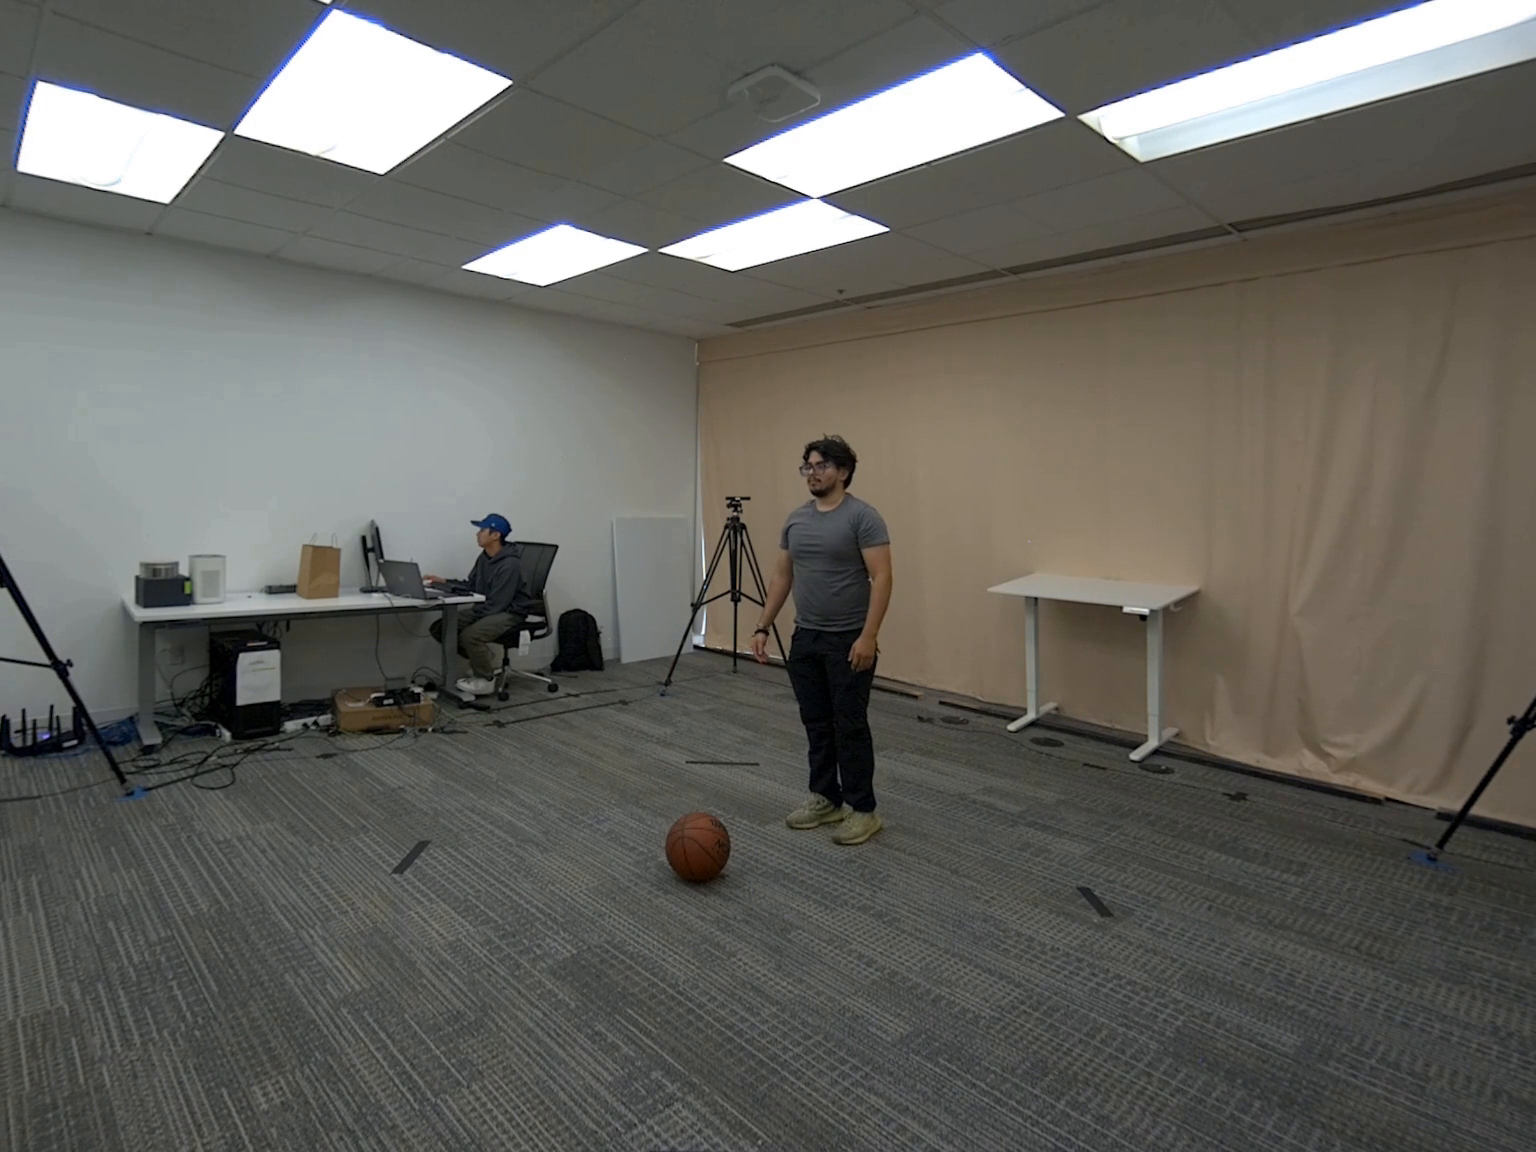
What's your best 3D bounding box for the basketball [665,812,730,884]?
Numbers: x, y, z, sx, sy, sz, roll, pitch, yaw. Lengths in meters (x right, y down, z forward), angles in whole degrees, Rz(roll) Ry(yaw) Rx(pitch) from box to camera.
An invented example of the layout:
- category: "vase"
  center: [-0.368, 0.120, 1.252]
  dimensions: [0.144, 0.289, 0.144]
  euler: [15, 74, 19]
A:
- category: "basketball"
  center: [-0.262, 0.987, 3.076]
  dimensions: [0.236, 0.235, 0.237]
  euler: [1, 4, -1]
